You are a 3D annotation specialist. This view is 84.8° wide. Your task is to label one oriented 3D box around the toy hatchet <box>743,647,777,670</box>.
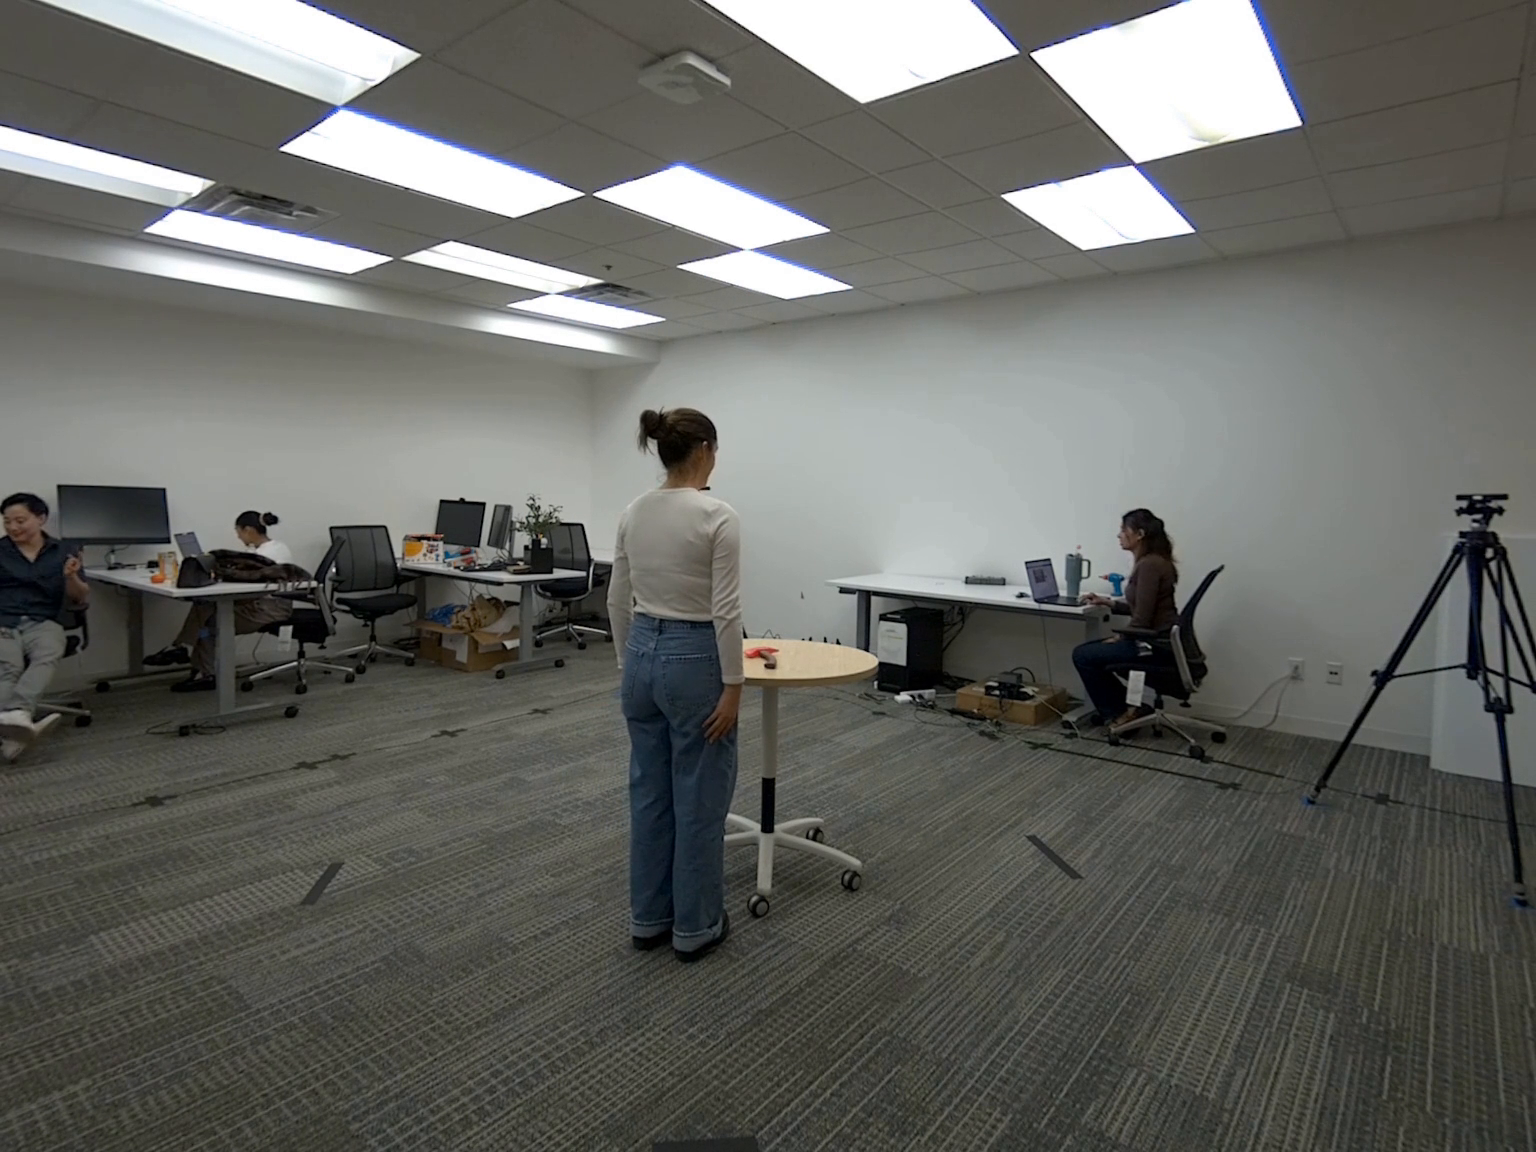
[{"bbox_3d":[-0.039,0.284,2.986,0.132,0.029,0.269,0,6,4],"label":"toy hatchet"}]
